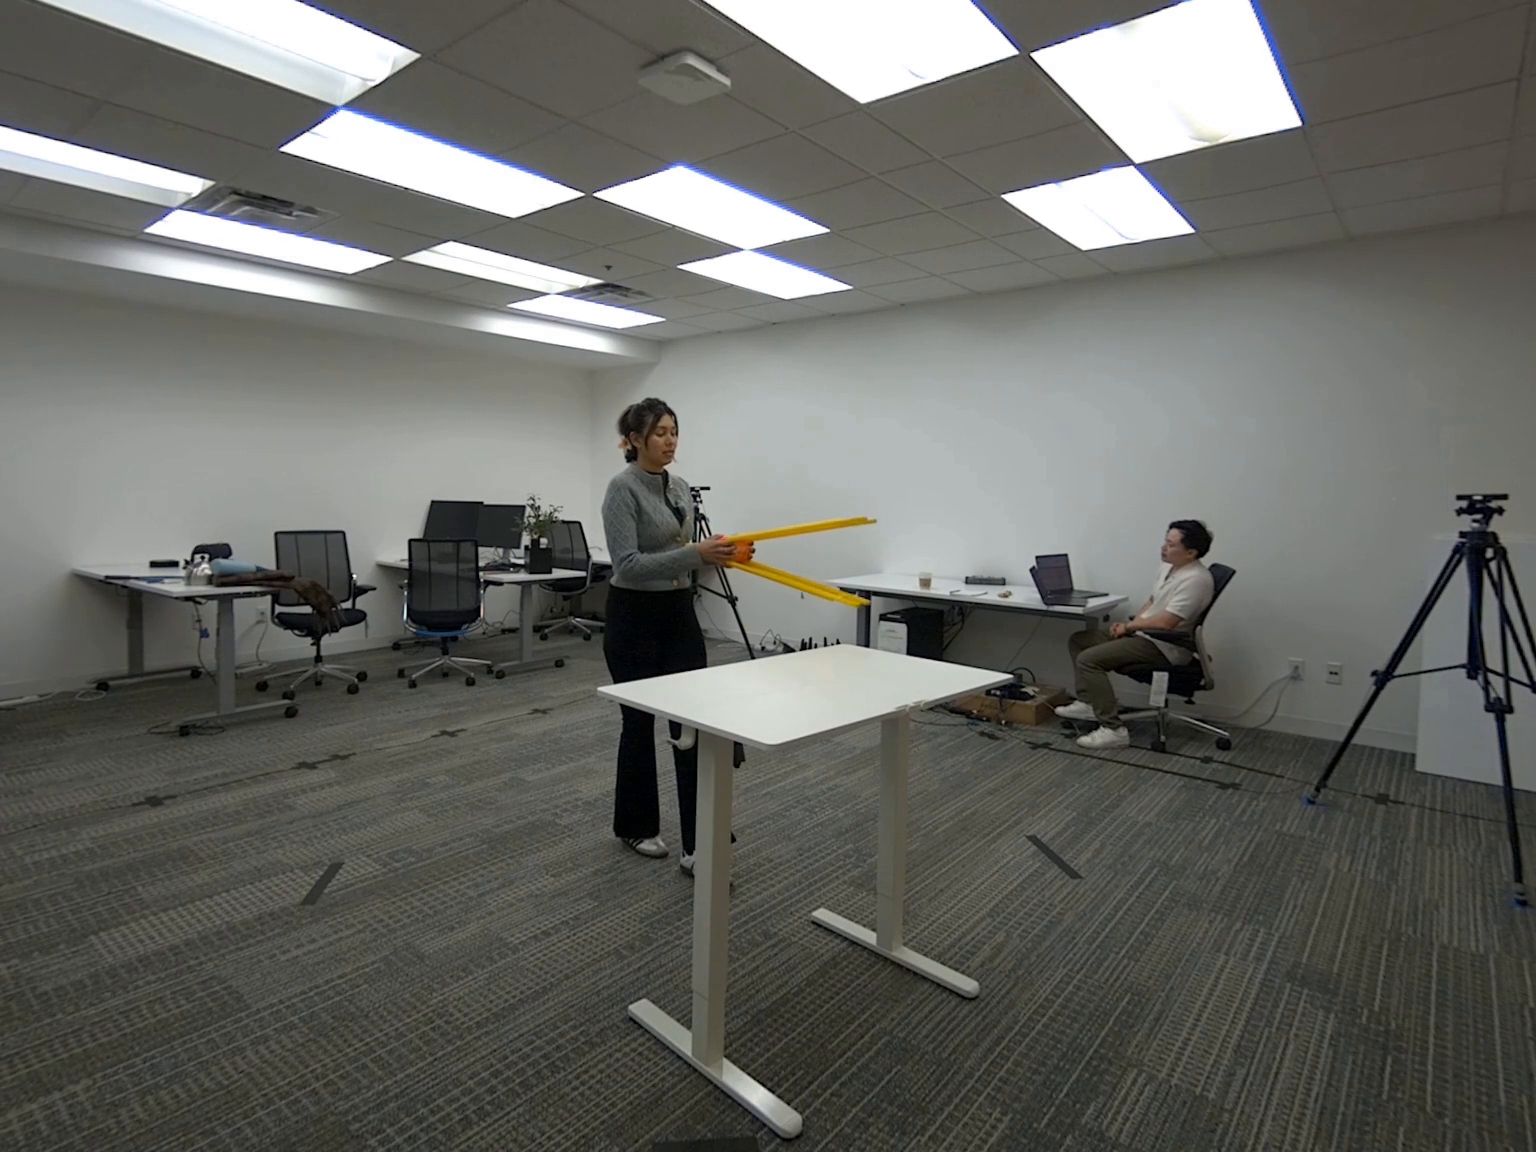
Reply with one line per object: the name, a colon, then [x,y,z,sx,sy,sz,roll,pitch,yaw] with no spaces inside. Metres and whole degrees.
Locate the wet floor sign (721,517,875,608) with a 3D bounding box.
wet floor sign: [0.037,-0.080,3.025,0.658,0.290,0.277,5,1,17]
